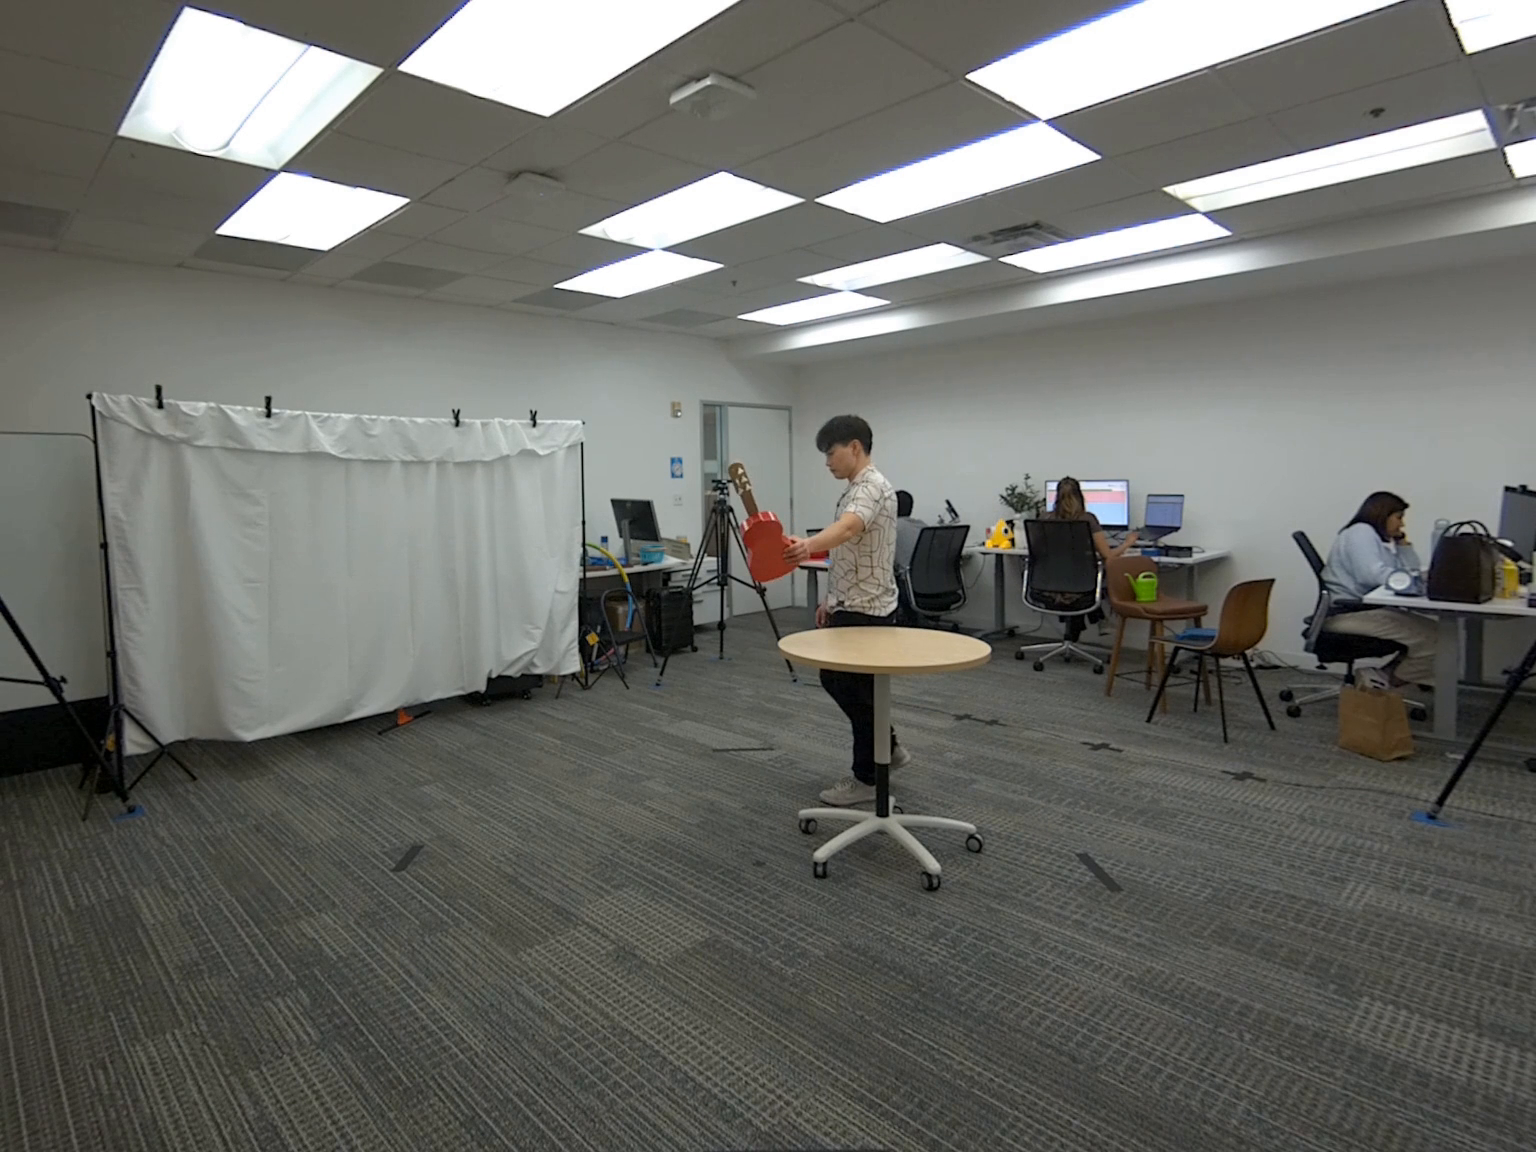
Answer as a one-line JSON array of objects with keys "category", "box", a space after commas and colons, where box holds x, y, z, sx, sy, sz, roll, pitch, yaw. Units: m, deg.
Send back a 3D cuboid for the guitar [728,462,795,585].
[{"category": "guitar", "box": [-0.053, -0.177, 3.004, 0.193, 0.480, 0.073, -29, 37, 5]}]
